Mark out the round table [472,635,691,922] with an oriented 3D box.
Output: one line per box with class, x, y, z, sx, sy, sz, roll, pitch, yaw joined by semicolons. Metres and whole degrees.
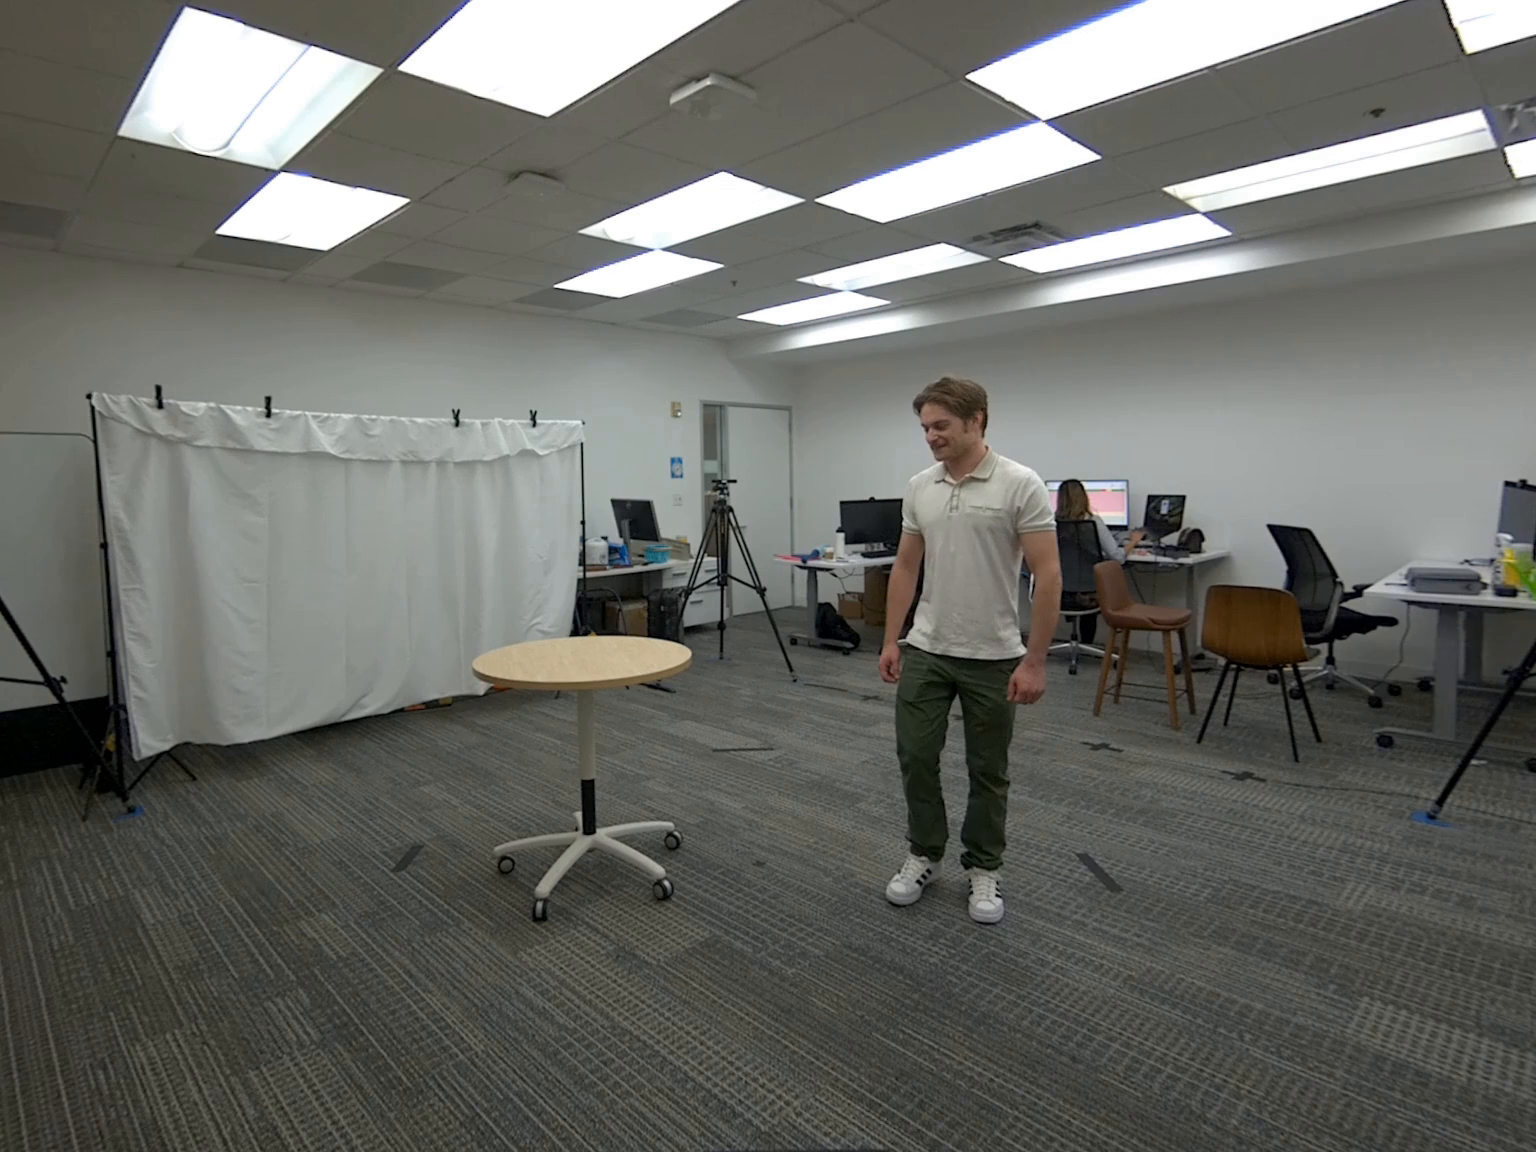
round table;-0.642;0.677;3.061;0.763;0.791;0.768;-1;5;-2
